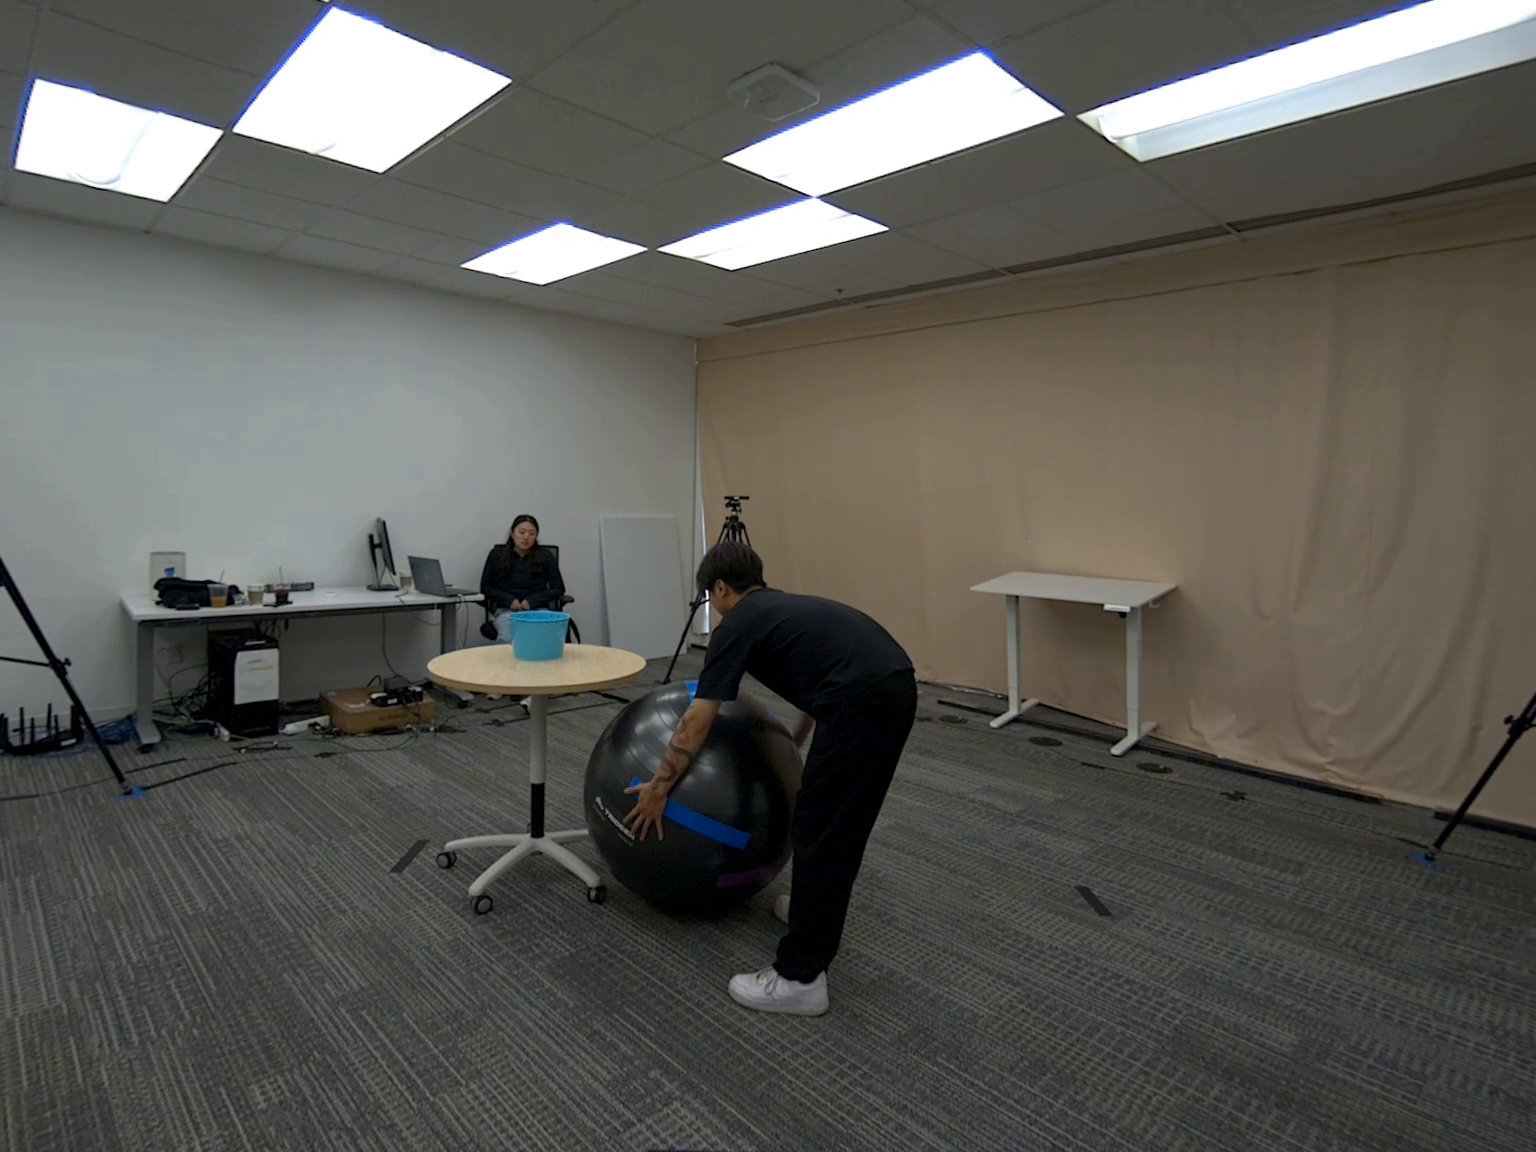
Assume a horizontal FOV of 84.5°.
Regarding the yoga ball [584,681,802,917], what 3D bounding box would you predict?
[{"bbox_3d":[-0.254,0.757,2.896,0.757,0.756,0.761,1,4,-1],"label":"yoga ball"}]
